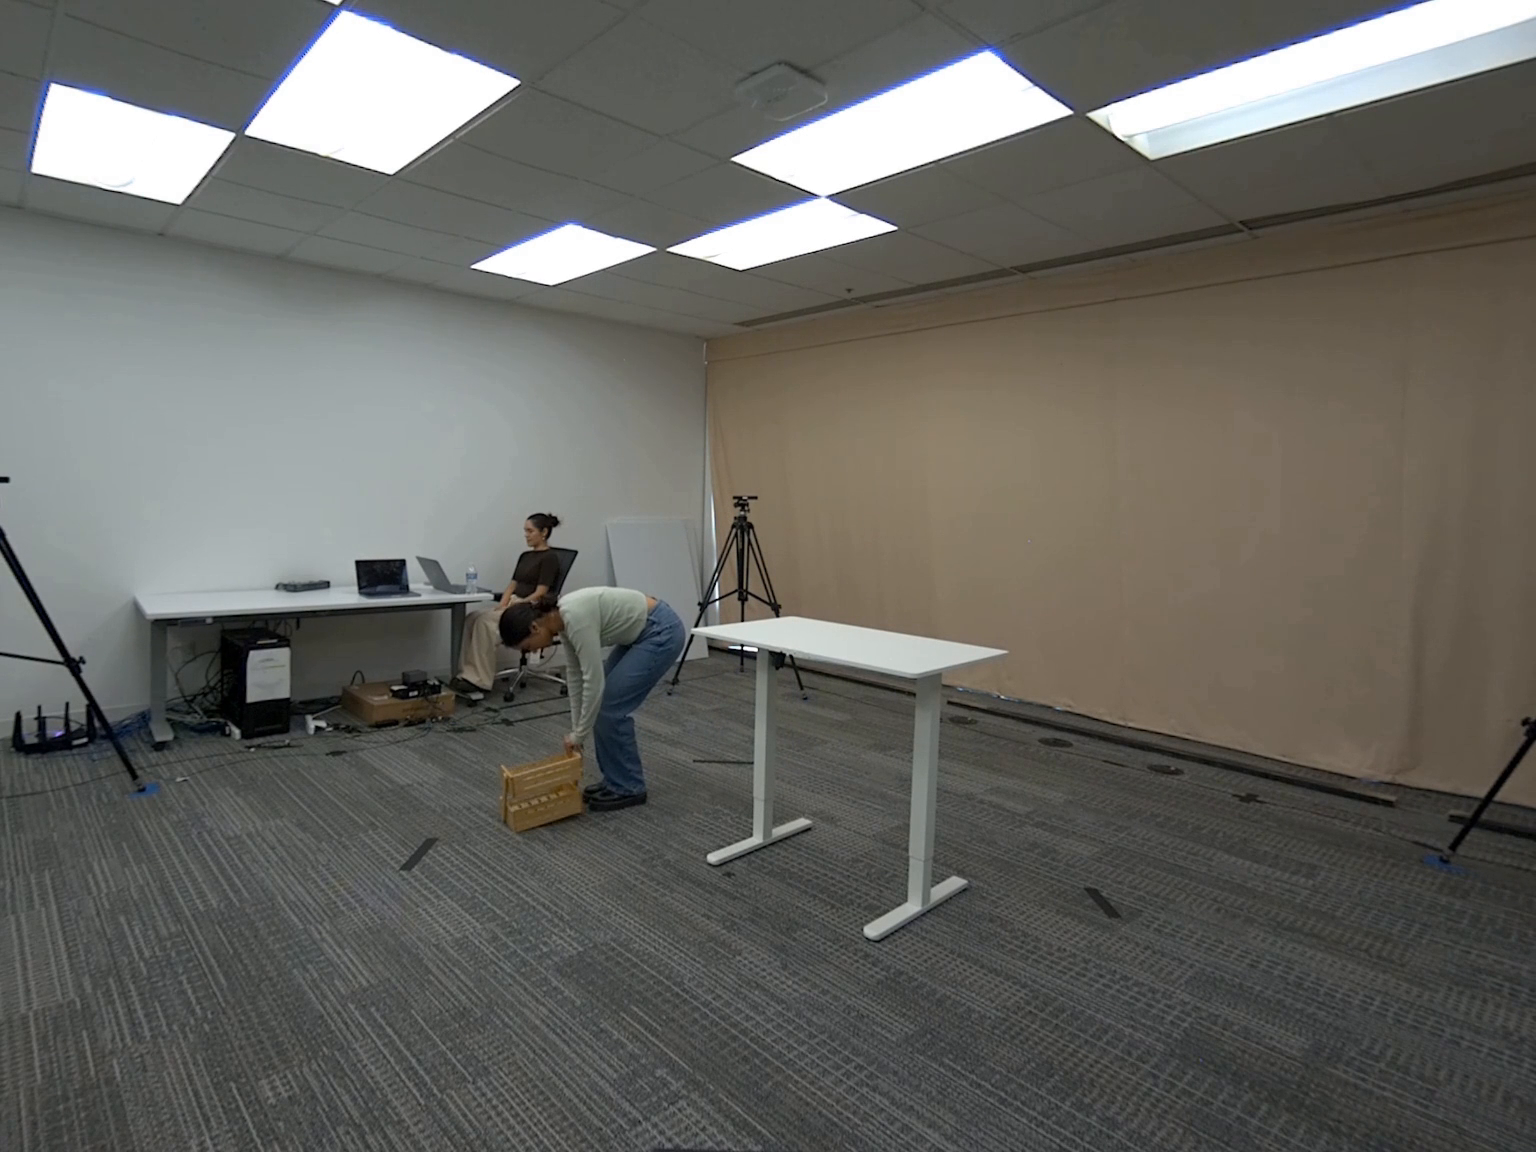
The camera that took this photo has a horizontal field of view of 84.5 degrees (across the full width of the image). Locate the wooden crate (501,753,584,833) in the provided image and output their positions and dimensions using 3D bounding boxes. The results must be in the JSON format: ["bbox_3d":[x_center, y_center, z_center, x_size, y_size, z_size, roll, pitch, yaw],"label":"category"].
[{"bbox_3d":[-0.989,0.888,3.587,0.318,0.271,0.309,-10,11,-33],"label":"wooden crate"}]
